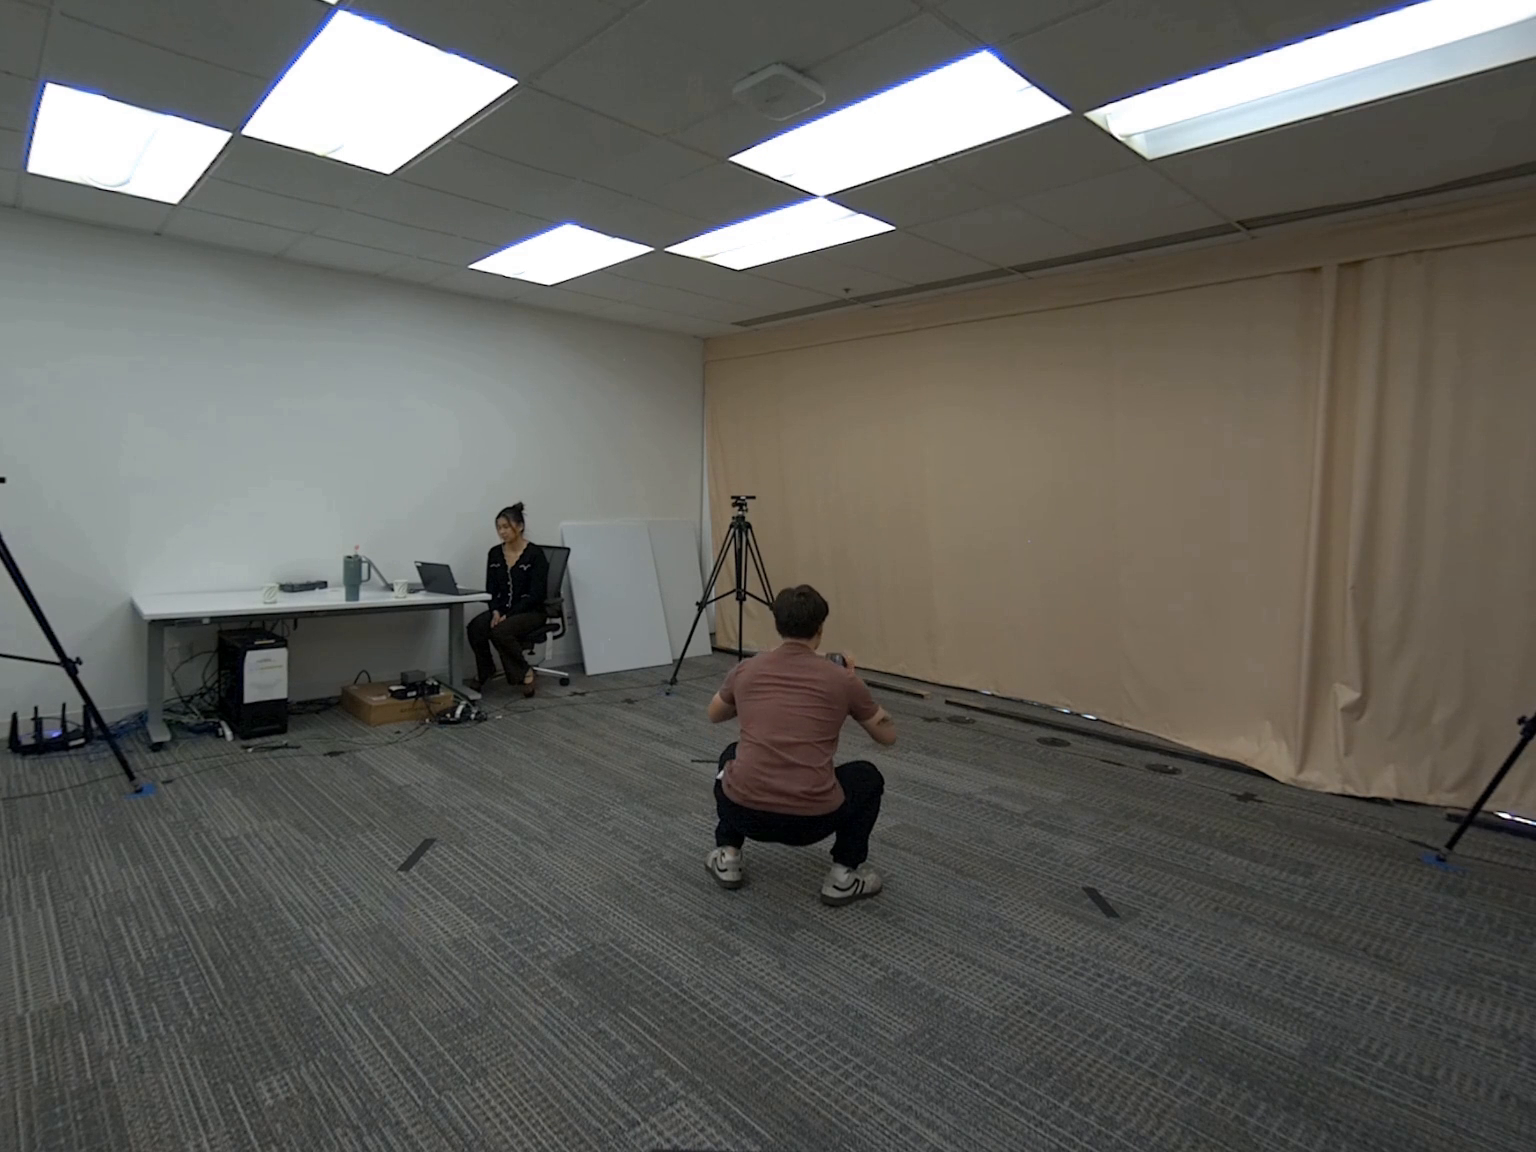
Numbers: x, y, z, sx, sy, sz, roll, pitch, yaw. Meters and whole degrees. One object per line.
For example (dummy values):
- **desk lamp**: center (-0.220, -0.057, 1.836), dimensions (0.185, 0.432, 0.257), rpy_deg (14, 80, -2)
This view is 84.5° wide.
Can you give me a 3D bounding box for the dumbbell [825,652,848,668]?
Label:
- **dumbbell**: center (0.164, 0.346, 3.249), dimensions (0.297, 0.110, 0.120), rpy_deg (-2, -20, 15)
